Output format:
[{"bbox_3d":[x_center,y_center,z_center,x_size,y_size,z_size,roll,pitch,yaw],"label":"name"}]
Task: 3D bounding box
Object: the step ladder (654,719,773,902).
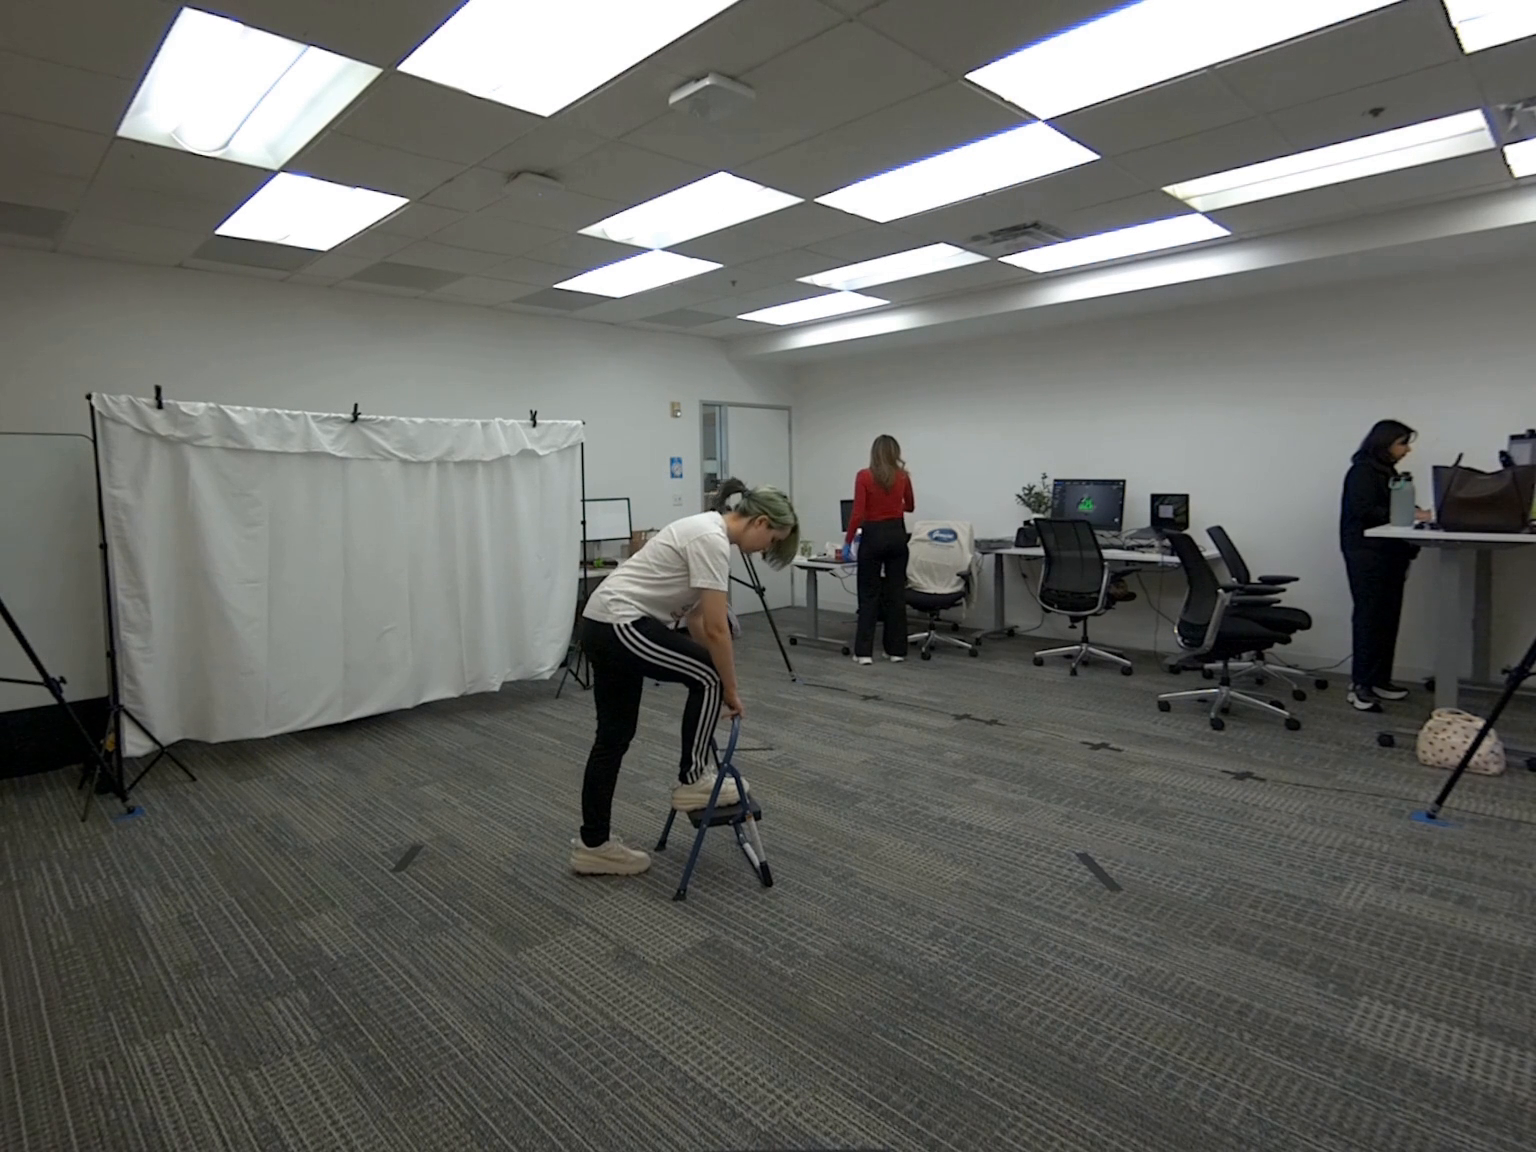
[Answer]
[{"bbox_3d":[-0.208,0.755,3.072,0.344,0.604,0.438,-2,5,-16],"label":"step ladder"}]
